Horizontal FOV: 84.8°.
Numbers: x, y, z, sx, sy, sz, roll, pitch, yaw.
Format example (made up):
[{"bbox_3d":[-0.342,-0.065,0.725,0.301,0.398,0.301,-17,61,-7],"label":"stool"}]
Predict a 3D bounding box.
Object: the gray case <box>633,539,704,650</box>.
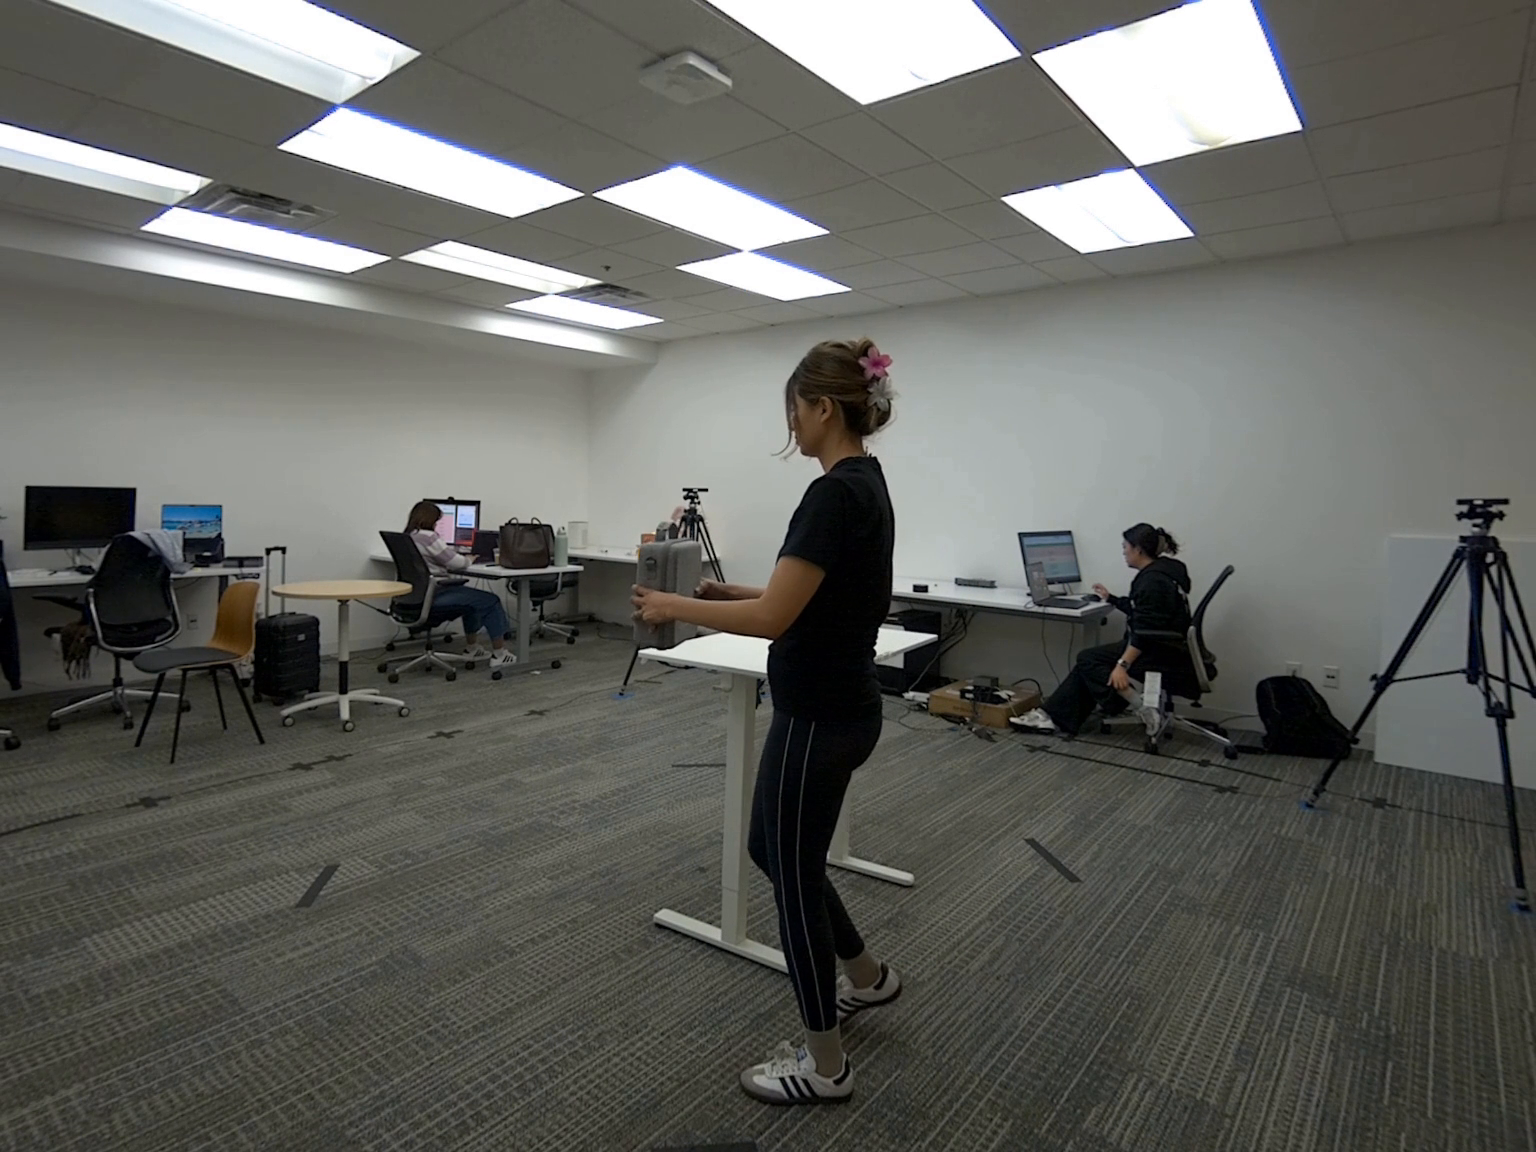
[{"bbox_3d":[-0.244,0.032,2.086,0.105,0.260,0.255,1,3,8],"label":"gray case"}]
